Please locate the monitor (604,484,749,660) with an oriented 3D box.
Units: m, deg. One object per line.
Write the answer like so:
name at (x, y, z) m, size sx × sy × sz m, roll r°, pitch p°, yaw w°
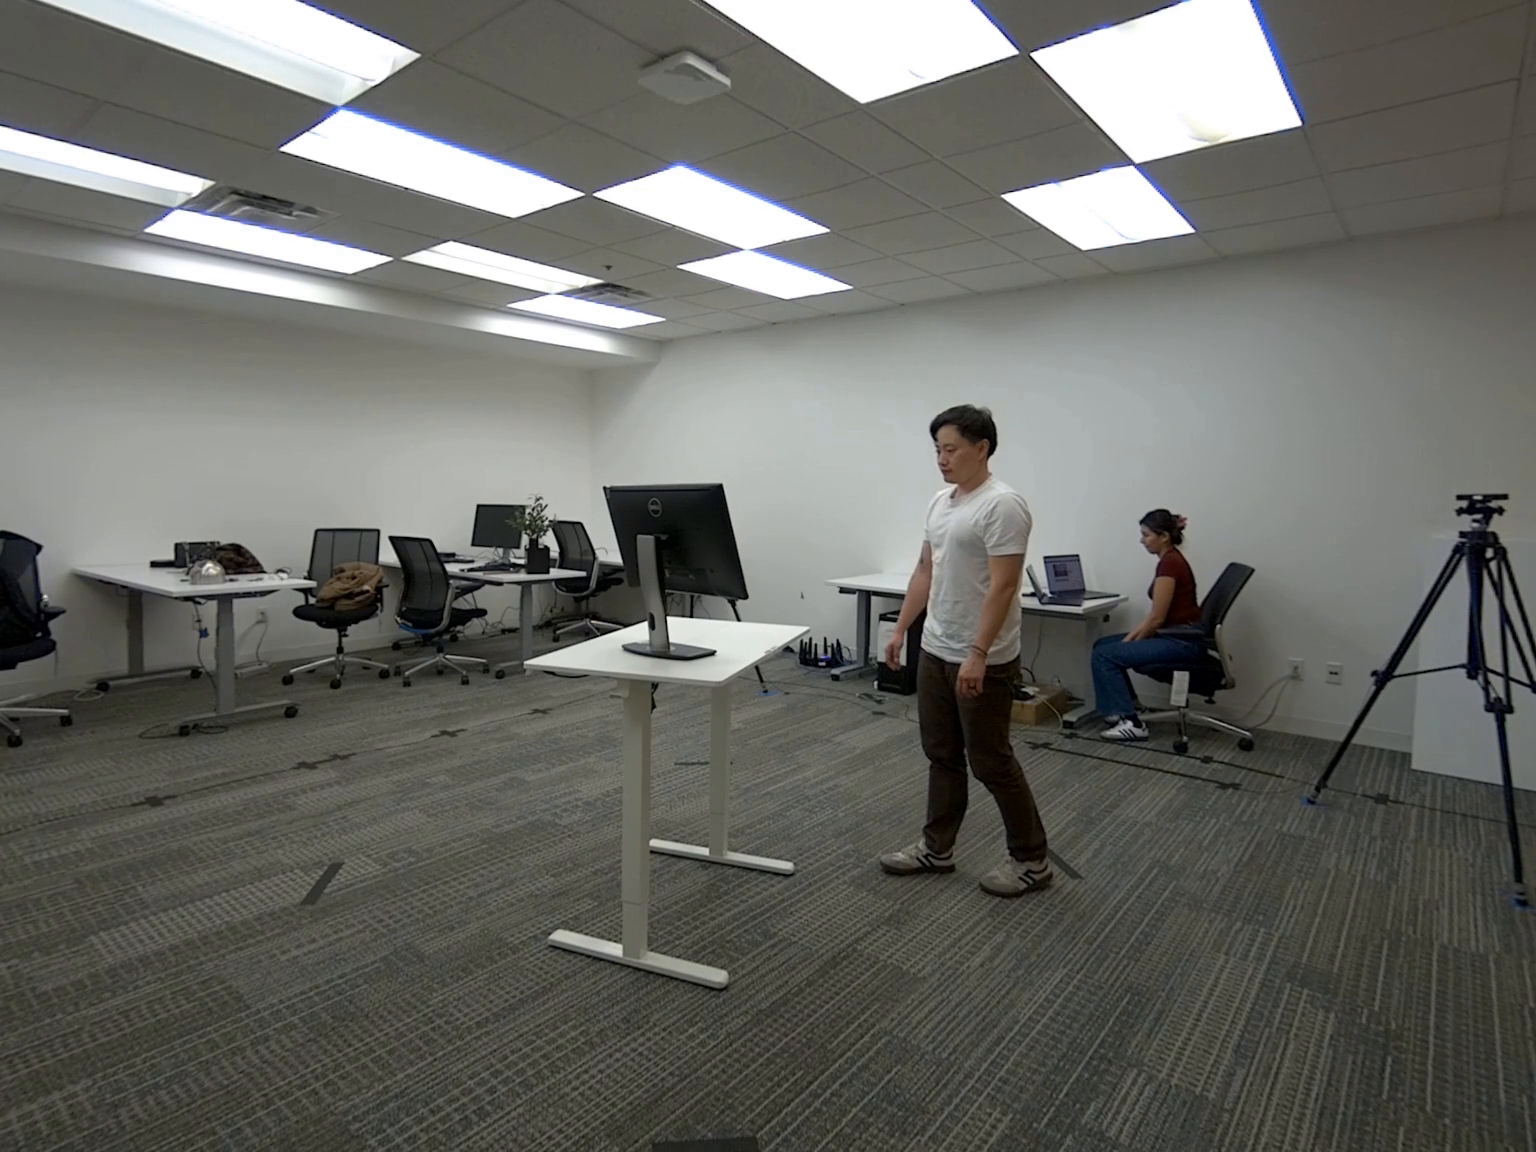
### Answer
monitor at (-0.324, -0.020, 2.595) m, size 0.557 × 0.520 × 0.182 m, roll 3°, pitch 7°, yaw 41°
